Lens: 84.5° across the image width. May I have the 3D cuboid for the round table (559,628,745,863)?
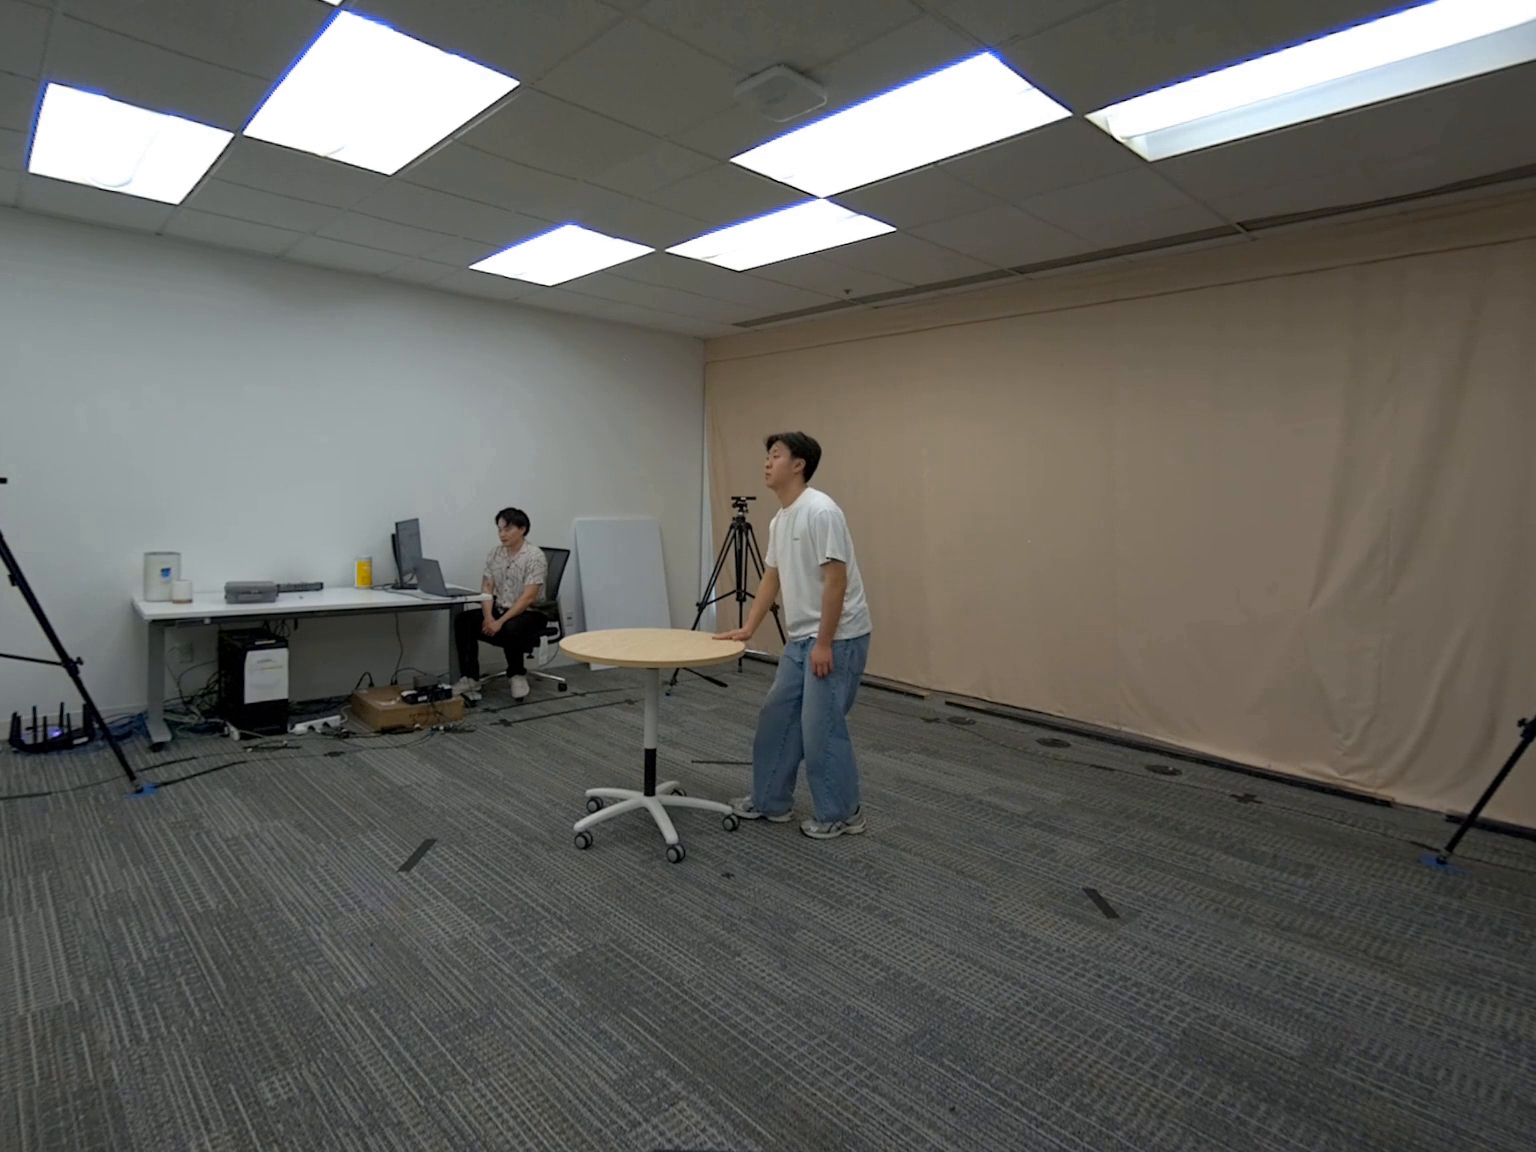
[{"bbox_3d":[-0.493,0.671,3.505,0.763,0.792,0.766,2,4,-1],"label":"round table"}]
